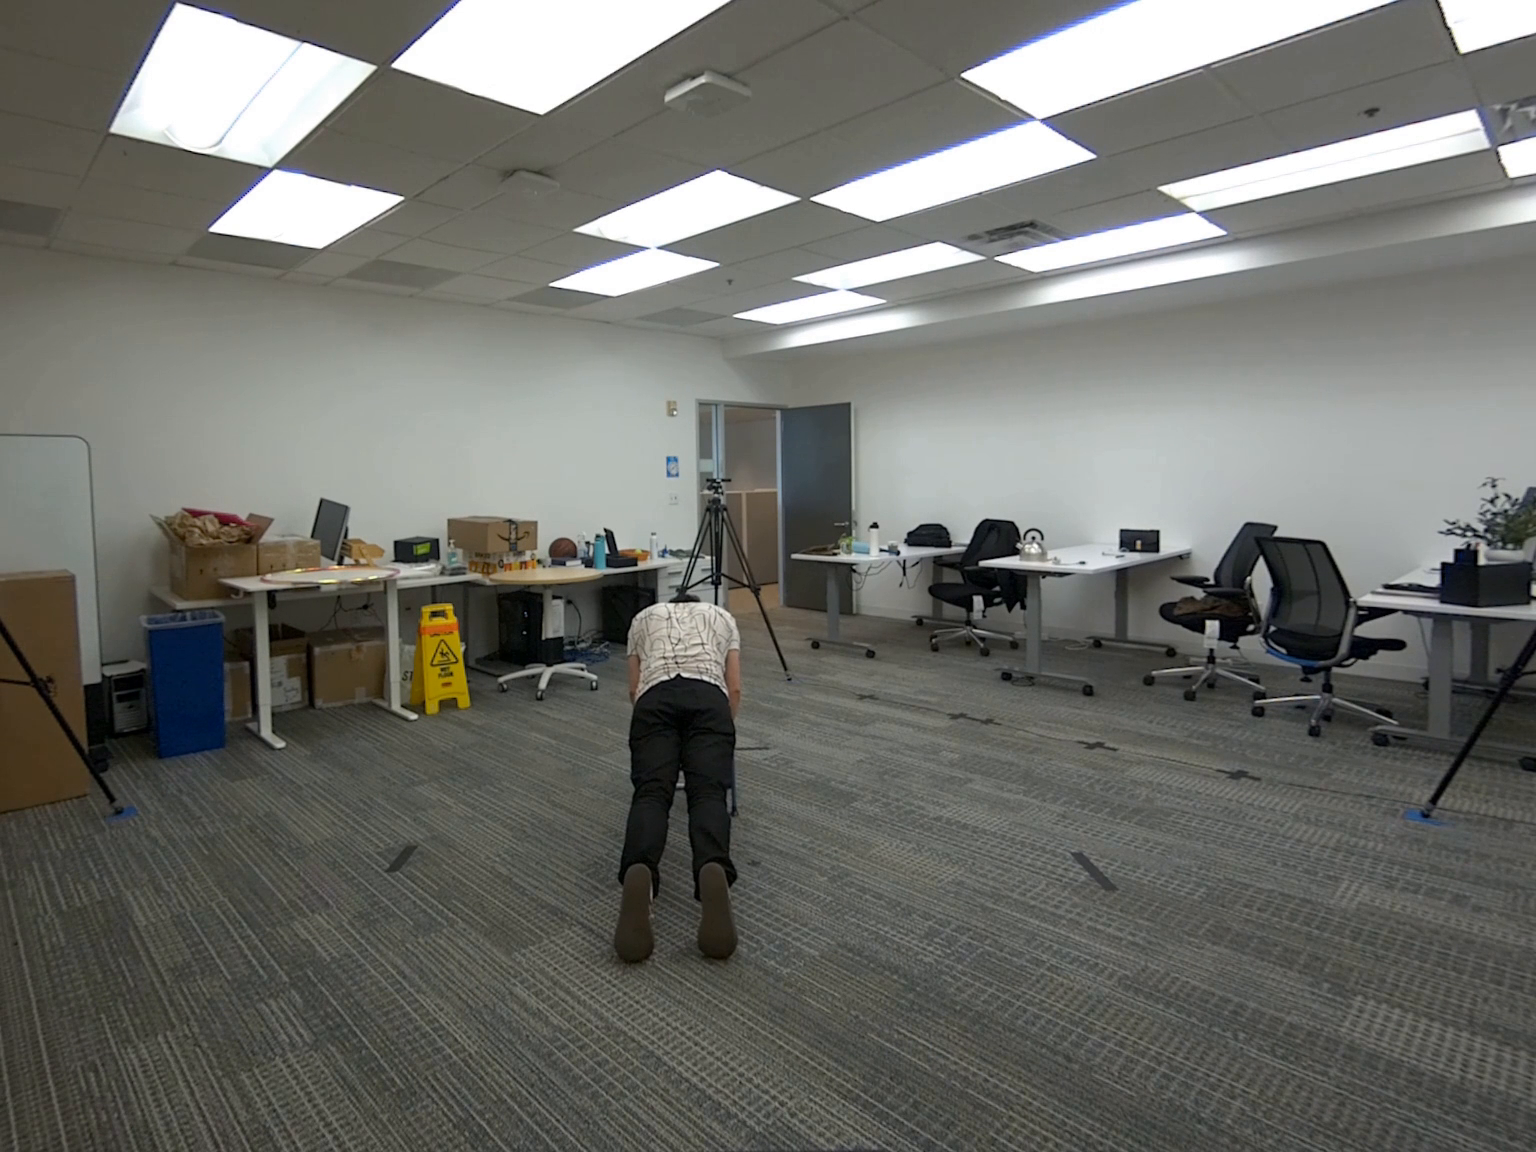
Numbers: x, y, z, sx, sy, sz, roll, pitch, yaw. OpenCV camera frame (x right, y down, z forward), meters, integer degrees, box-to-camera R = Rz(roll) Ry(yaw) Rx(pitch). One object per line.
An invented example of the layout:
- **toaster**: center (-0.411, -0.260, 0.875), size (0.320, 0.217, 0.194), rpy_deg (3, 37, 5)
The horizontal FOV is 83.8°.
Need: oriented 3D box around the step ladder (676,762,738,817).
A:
- **step ladder**: center (-0.350, 0.687, 3.699), size (0.430, 0.604, 0.351), rpy_deg (-1, 5, -3)
